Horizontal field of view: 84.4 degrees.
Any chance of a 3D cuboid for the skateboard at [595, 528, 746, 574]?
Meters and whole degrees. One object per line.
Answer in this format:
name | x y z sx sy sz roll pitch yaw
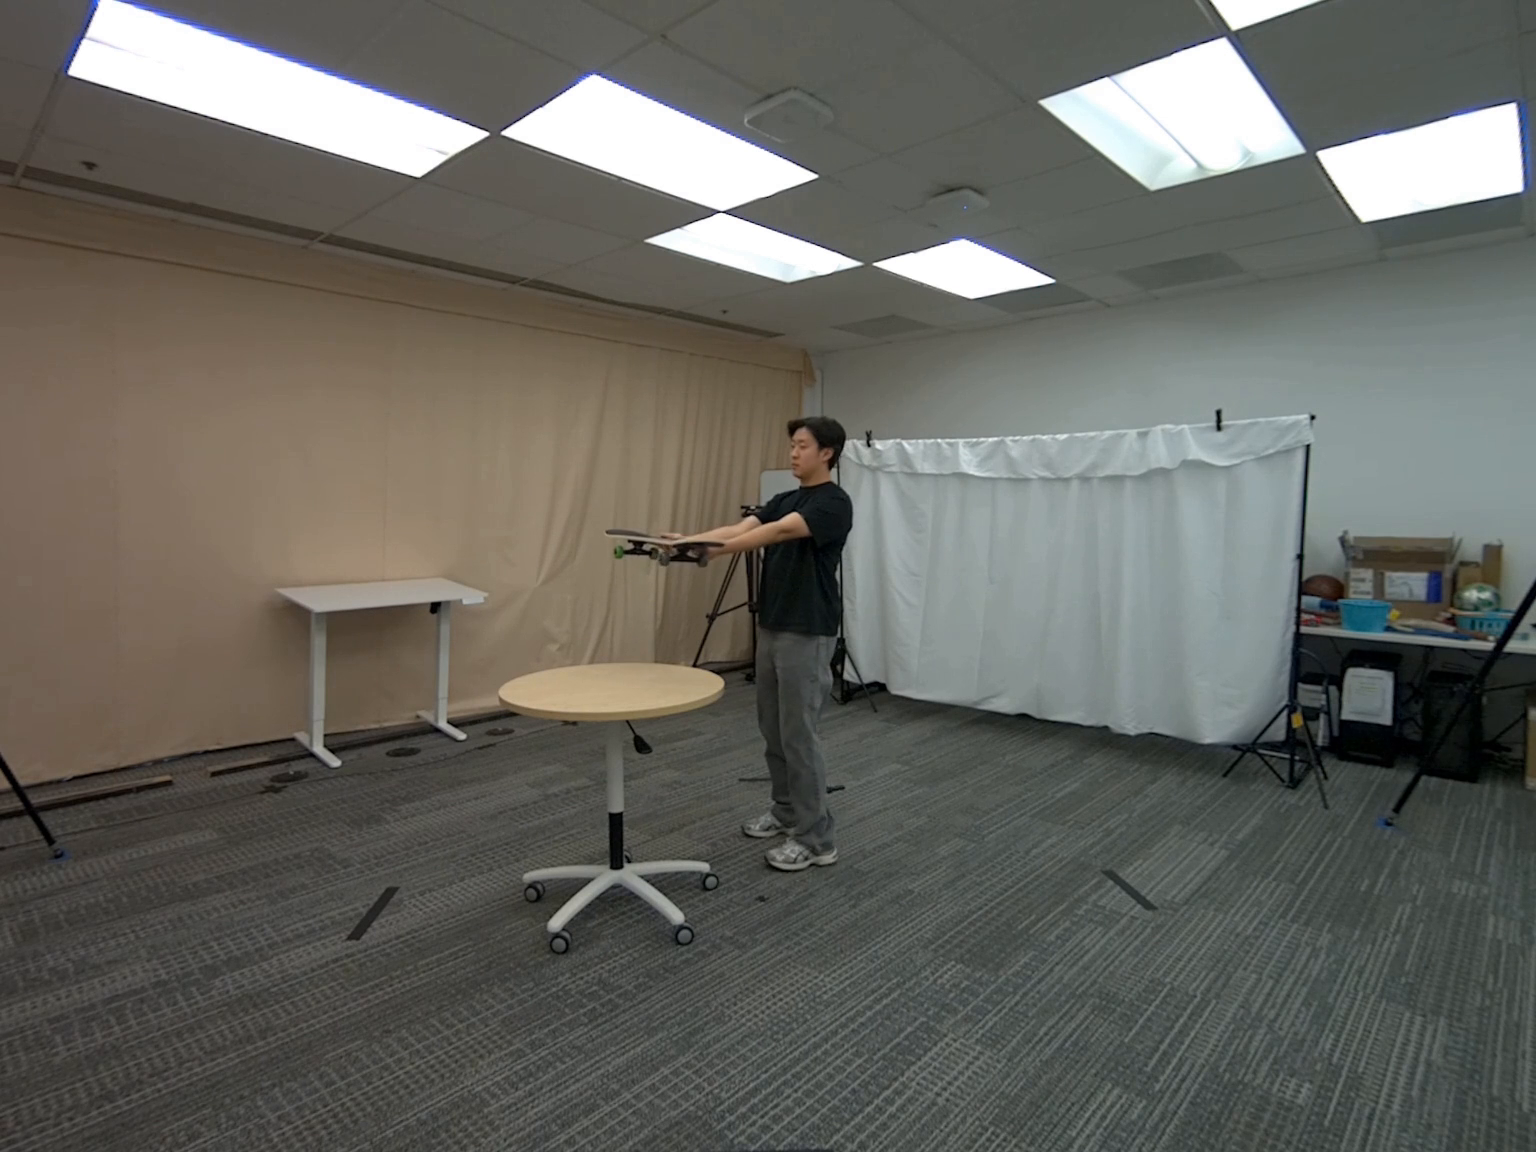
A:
skateboard | -0.388 -0.102 3.149 0.188 0.110 0.810 2 4 -35
